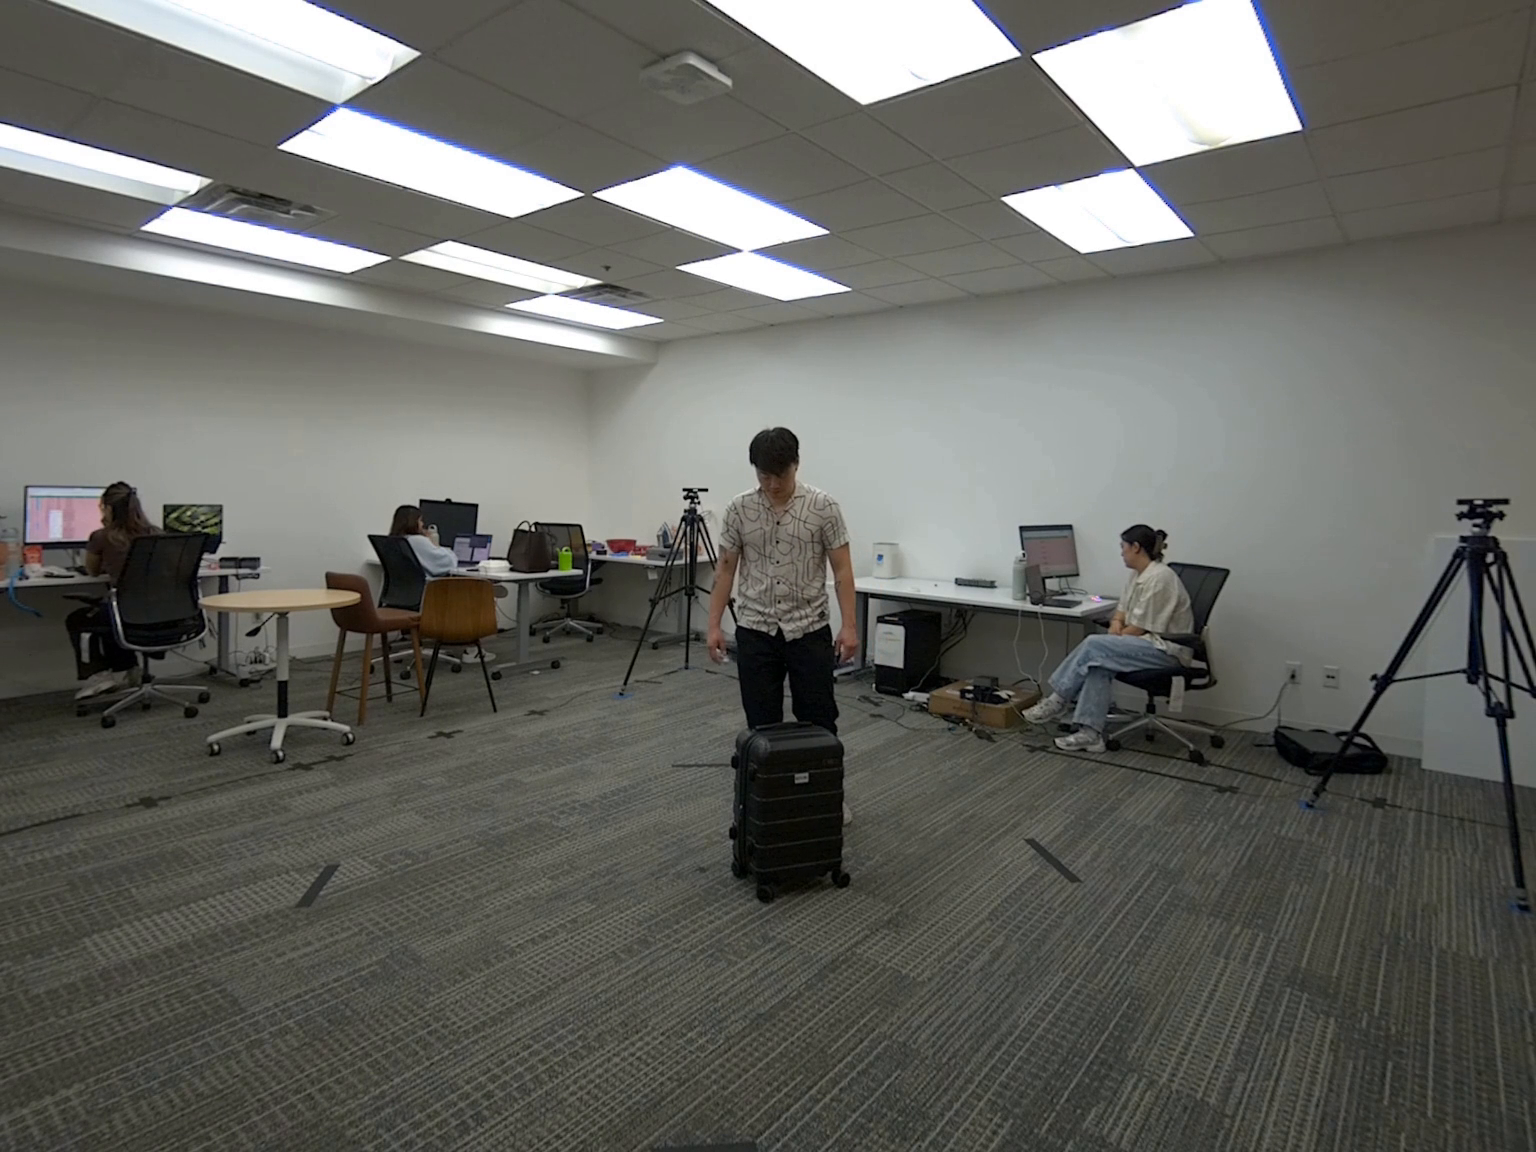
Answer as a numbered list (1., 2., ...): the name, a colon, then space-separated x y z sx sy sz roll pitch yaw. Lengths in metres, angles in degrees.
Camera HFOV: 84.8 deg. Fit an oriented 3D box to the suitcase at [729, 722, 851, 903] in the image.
1. suitcase: 0.066 0.805 3.033 0.366 0.548 0.255 0 4 -26
